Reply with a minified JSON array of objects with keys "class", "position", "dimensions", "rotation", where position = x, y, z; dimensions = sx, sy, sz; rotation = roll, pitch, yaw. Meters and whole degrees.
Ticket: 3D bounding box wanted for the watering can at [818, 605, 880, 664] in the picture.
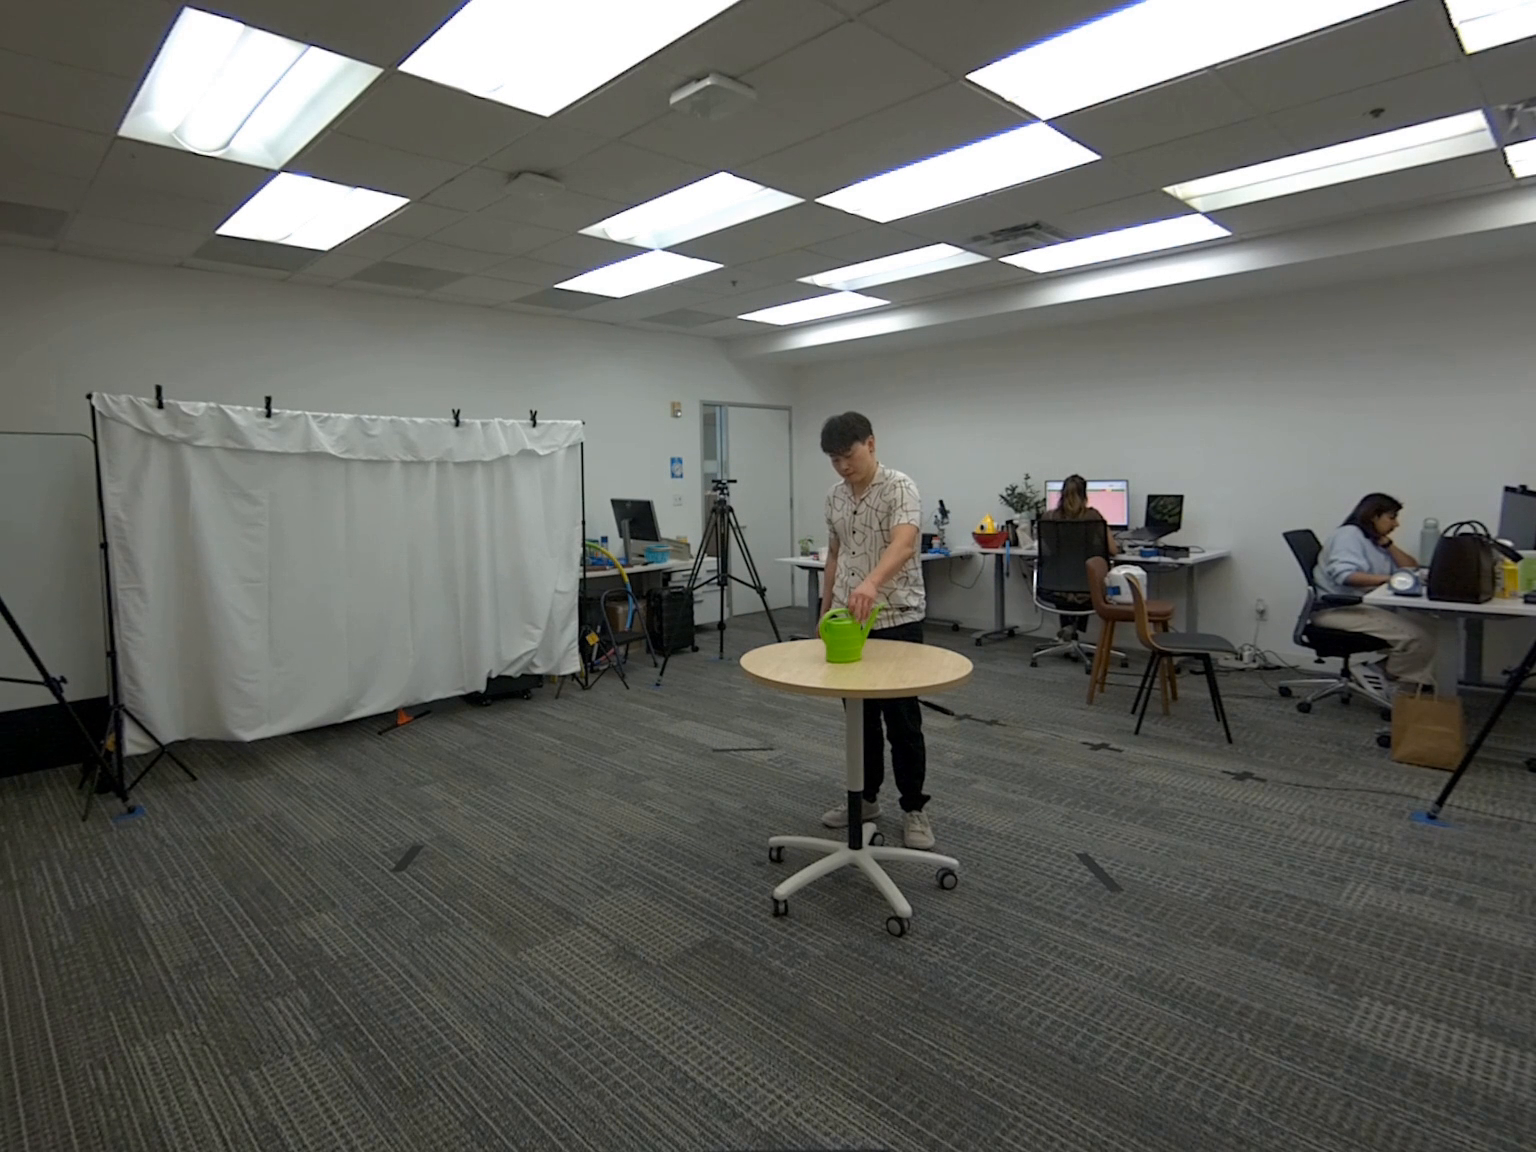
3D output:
[{"class":"watering can","position":[0.299,0.193,2.888],"dimensions":[0.275,0.176,0.099],"rotation":[-3,4,-11]}]
